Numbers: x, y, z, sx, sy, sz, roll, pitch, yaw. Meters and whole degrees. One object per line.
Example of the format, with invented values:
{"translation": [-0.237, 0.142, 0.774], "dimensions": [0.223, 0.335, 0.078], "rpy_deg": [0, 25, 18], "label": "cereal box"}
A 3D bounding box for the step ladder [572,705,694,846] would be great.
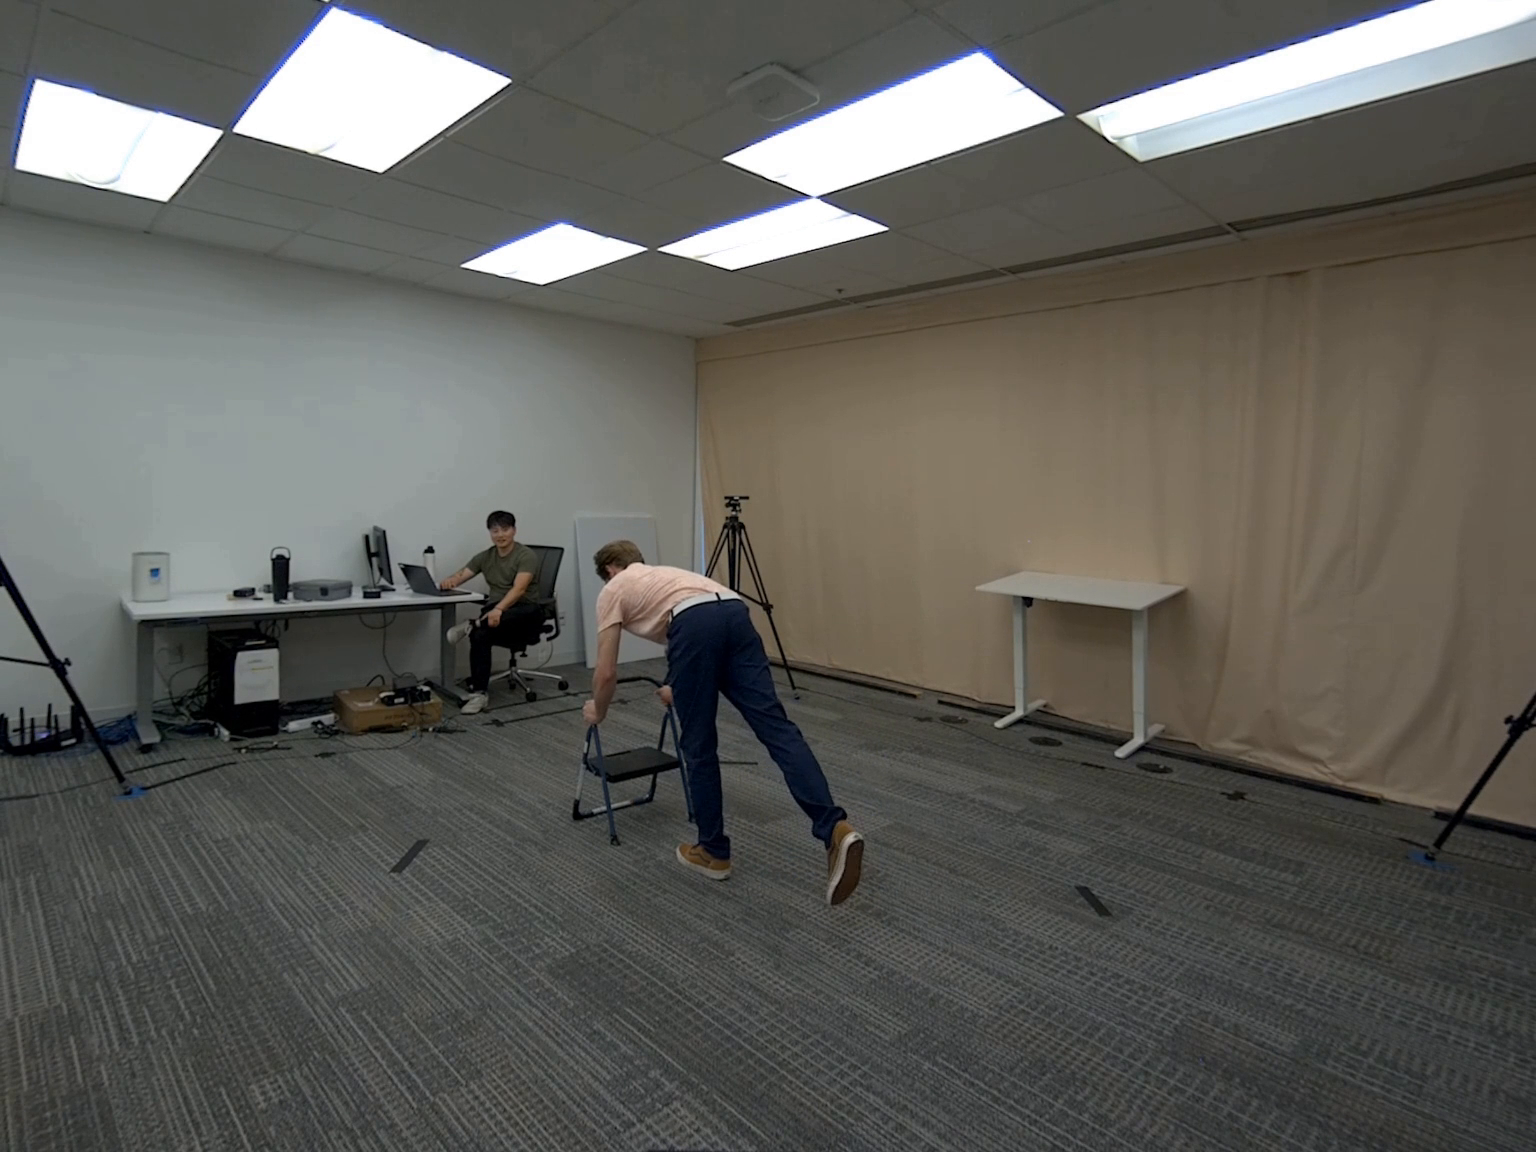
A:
{"translation": [-0.573, 0.749, 3.590], "dimensions": [0.421, 0.605, 0.358], "rpy_deg": [-2, 5, -43], "label": "step ladder"}
